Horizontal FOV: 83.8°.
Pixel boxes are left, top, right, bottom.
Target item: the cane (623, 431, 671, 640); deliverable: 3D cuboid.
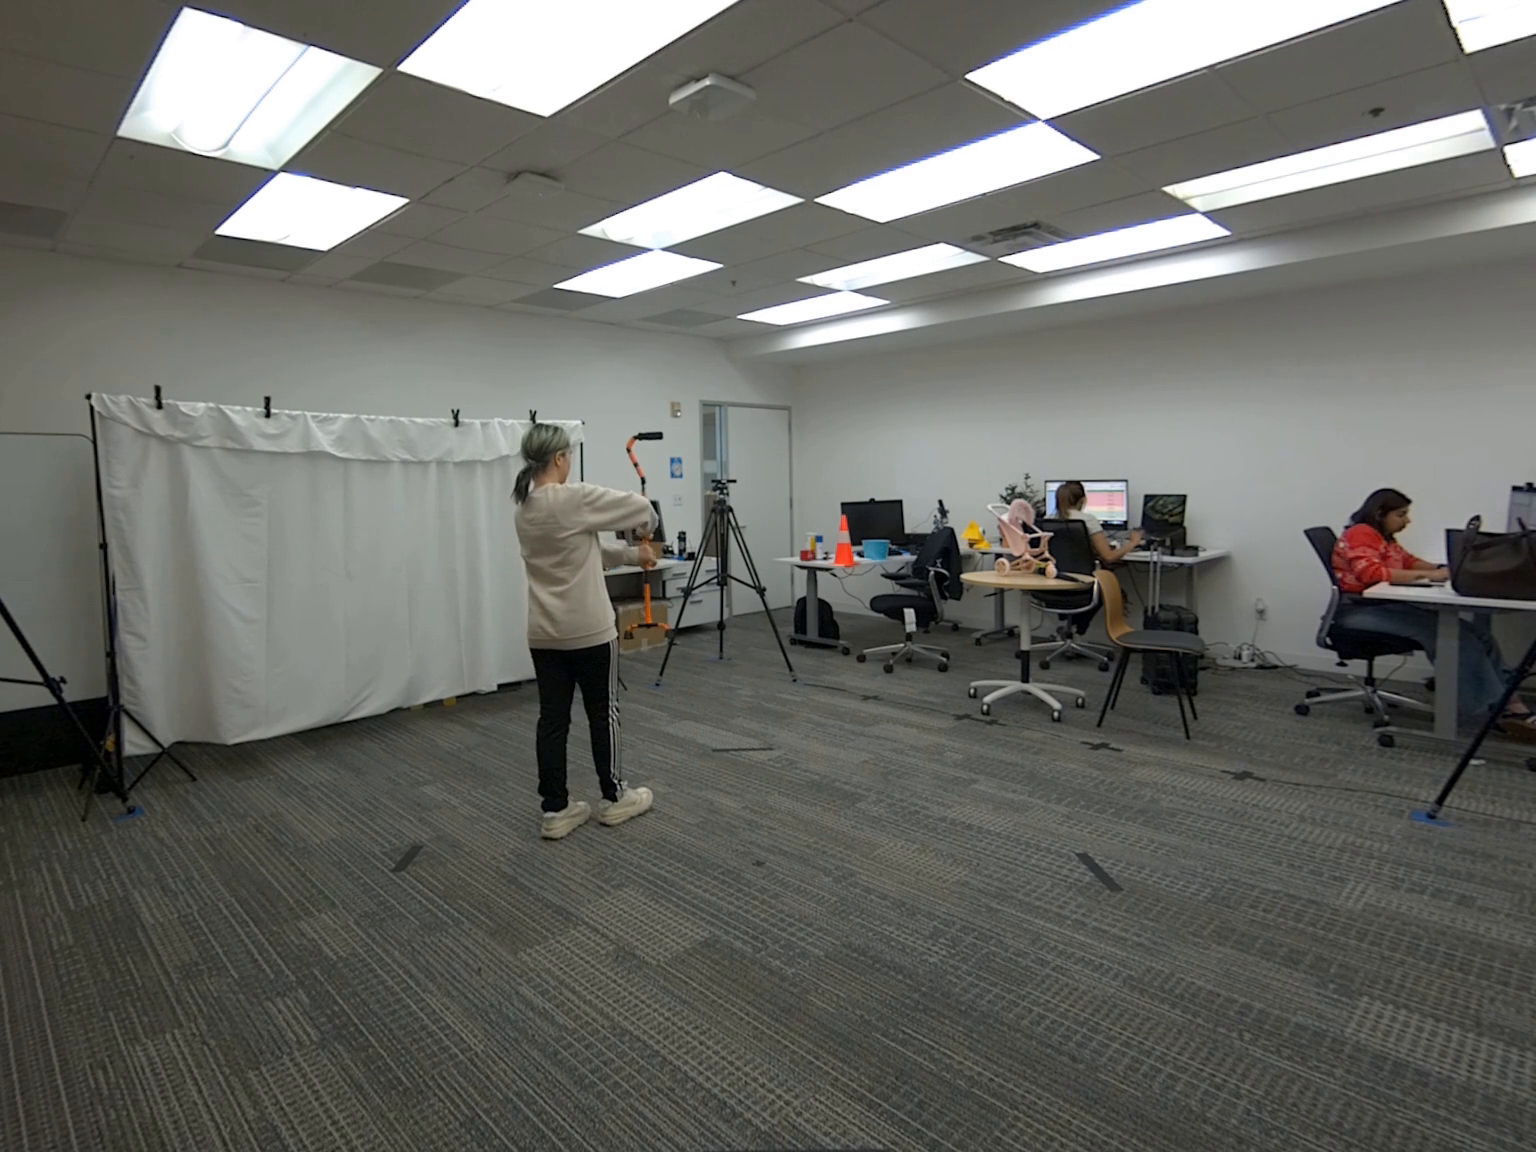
[{"bbox_3d":[-0.548,-0.188,3.777,0.205,0.914,0.151,-1,-7,-5],"label":"cane"}]
